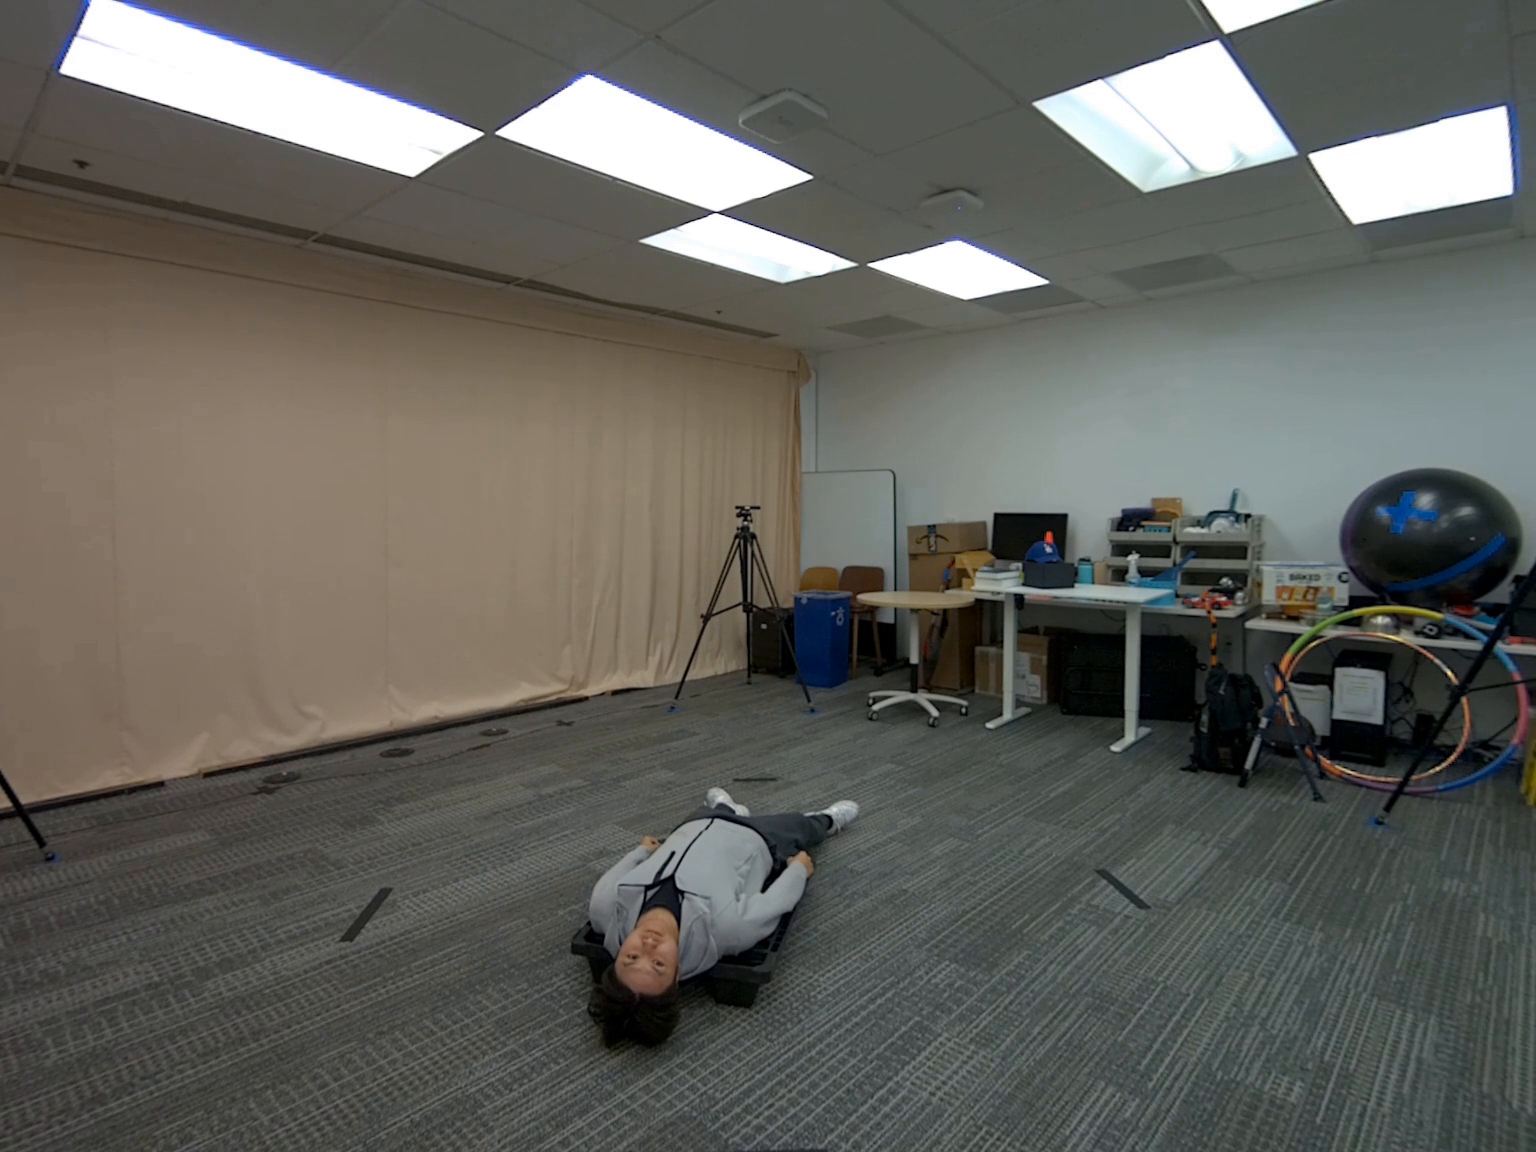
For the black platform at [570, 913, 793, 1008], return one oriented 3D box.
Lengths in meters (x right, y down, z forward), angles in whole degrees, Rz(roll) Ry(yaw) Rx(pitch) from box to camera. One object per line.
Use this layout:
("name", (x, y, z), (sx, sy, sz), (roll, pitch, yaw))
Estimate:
("black platform", (-0.195, 1.083, 2.736), (0.616, 0.143, 0.794), (4, 7, 16))
